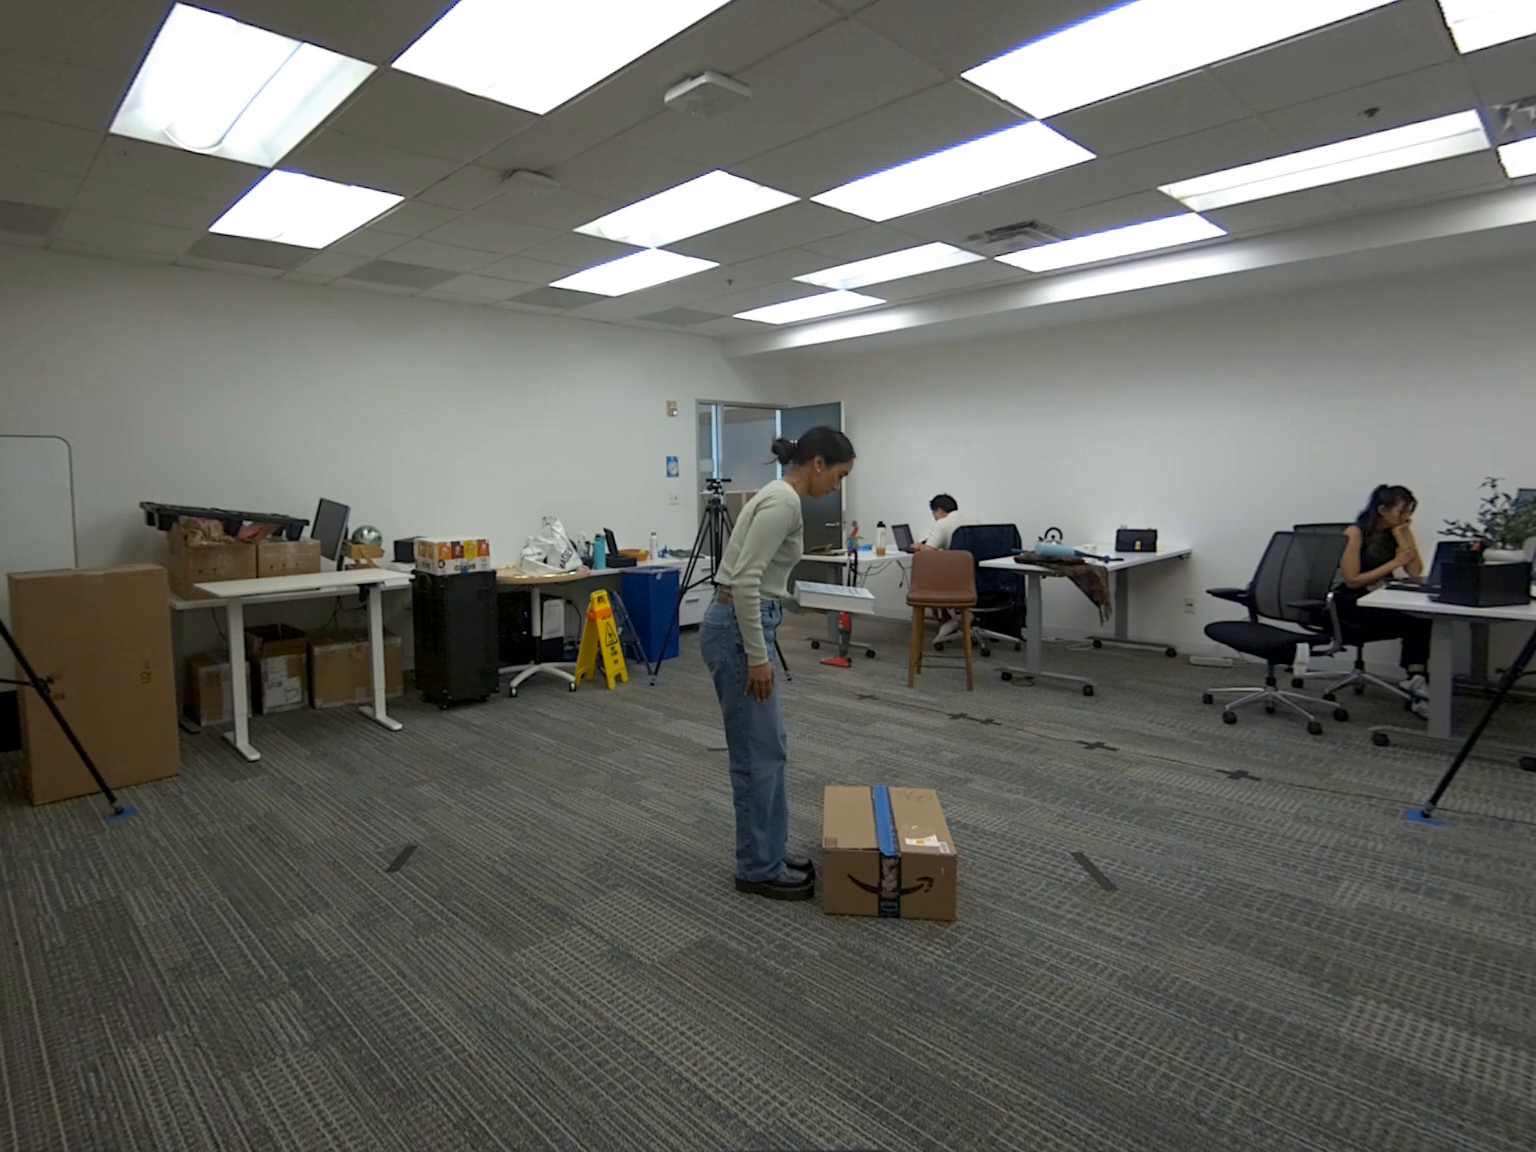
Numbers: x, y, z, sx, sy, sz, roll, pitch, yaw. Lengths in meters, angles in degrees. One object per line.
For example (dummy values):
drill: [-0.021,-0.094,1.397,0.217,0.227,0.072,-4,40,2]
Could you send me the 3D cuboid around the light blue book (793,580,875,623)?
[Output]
light blue book: [0.233,0.075,3.023,0.260,0.059,0.193,6,8,-4]
